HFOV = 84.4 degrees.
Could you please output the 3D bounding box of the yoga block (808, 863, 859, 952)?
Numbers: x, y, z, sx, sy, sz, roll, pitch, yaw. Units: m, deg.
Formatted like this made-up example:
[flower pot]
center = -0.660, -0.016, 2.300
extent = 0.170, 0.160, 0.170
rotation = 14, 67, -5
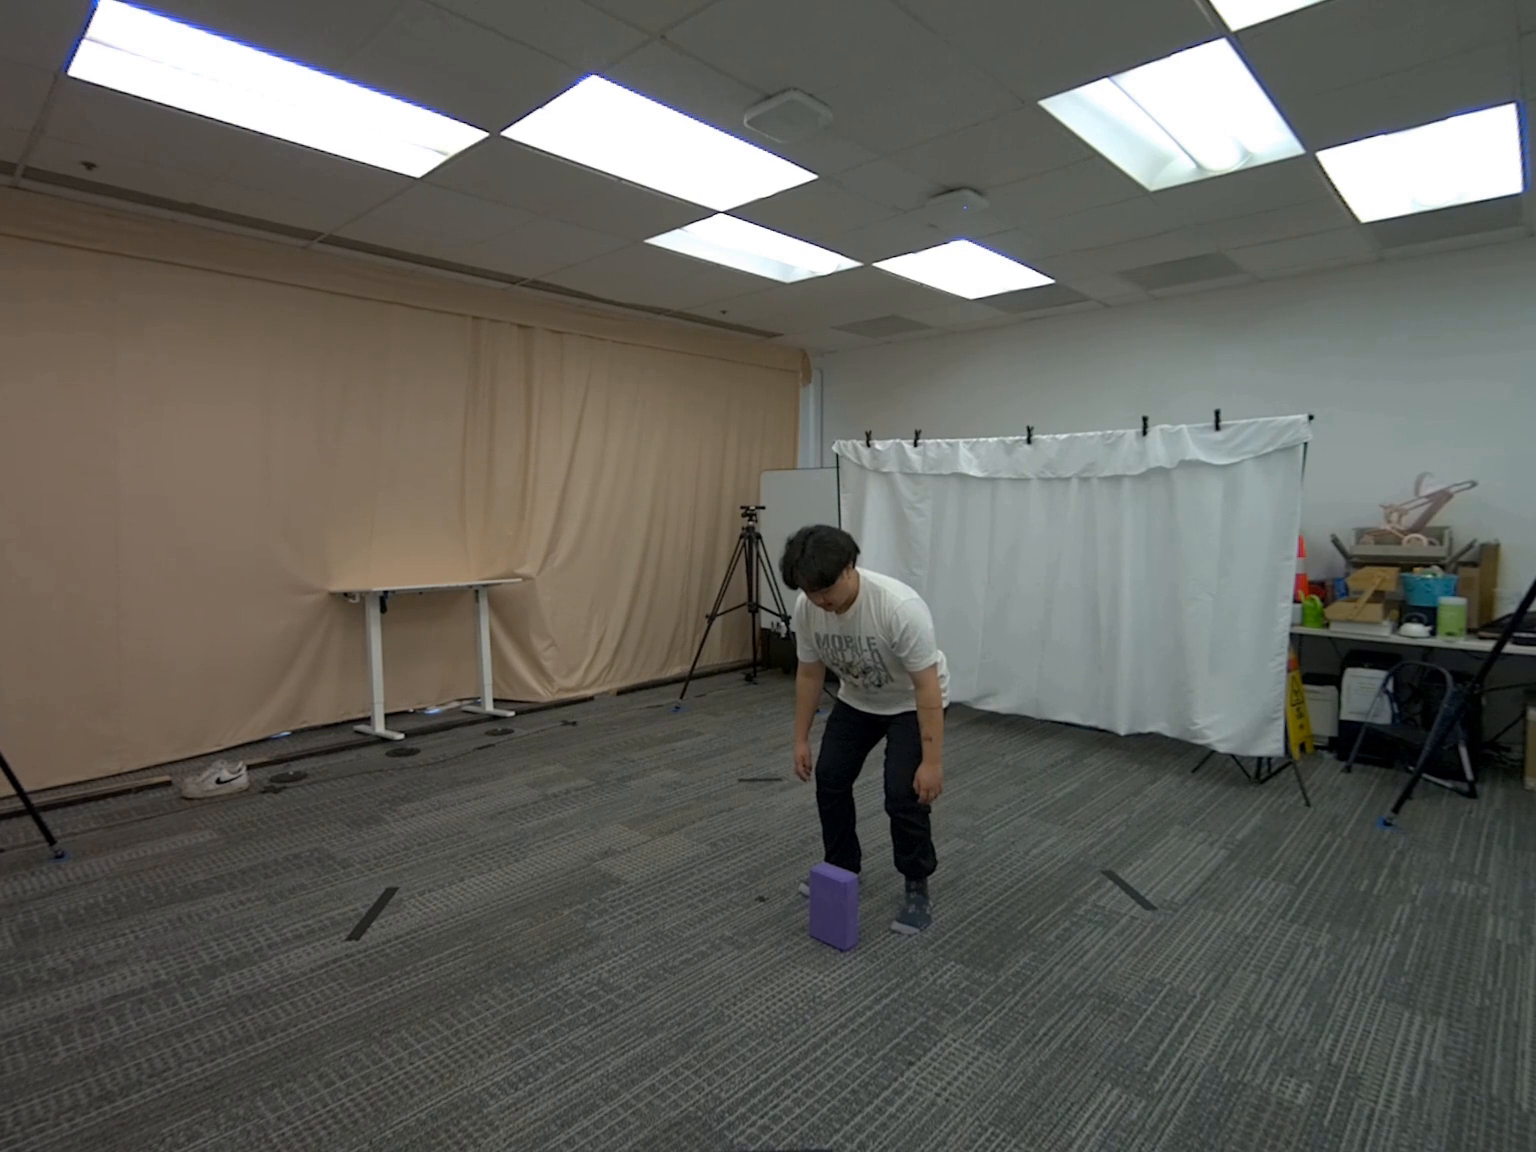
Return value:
[yoga block]
center = 0.217, 1.054, 2.689
extent = 0.154, 0.229, 0.074
rotation = 4, 5, 41
